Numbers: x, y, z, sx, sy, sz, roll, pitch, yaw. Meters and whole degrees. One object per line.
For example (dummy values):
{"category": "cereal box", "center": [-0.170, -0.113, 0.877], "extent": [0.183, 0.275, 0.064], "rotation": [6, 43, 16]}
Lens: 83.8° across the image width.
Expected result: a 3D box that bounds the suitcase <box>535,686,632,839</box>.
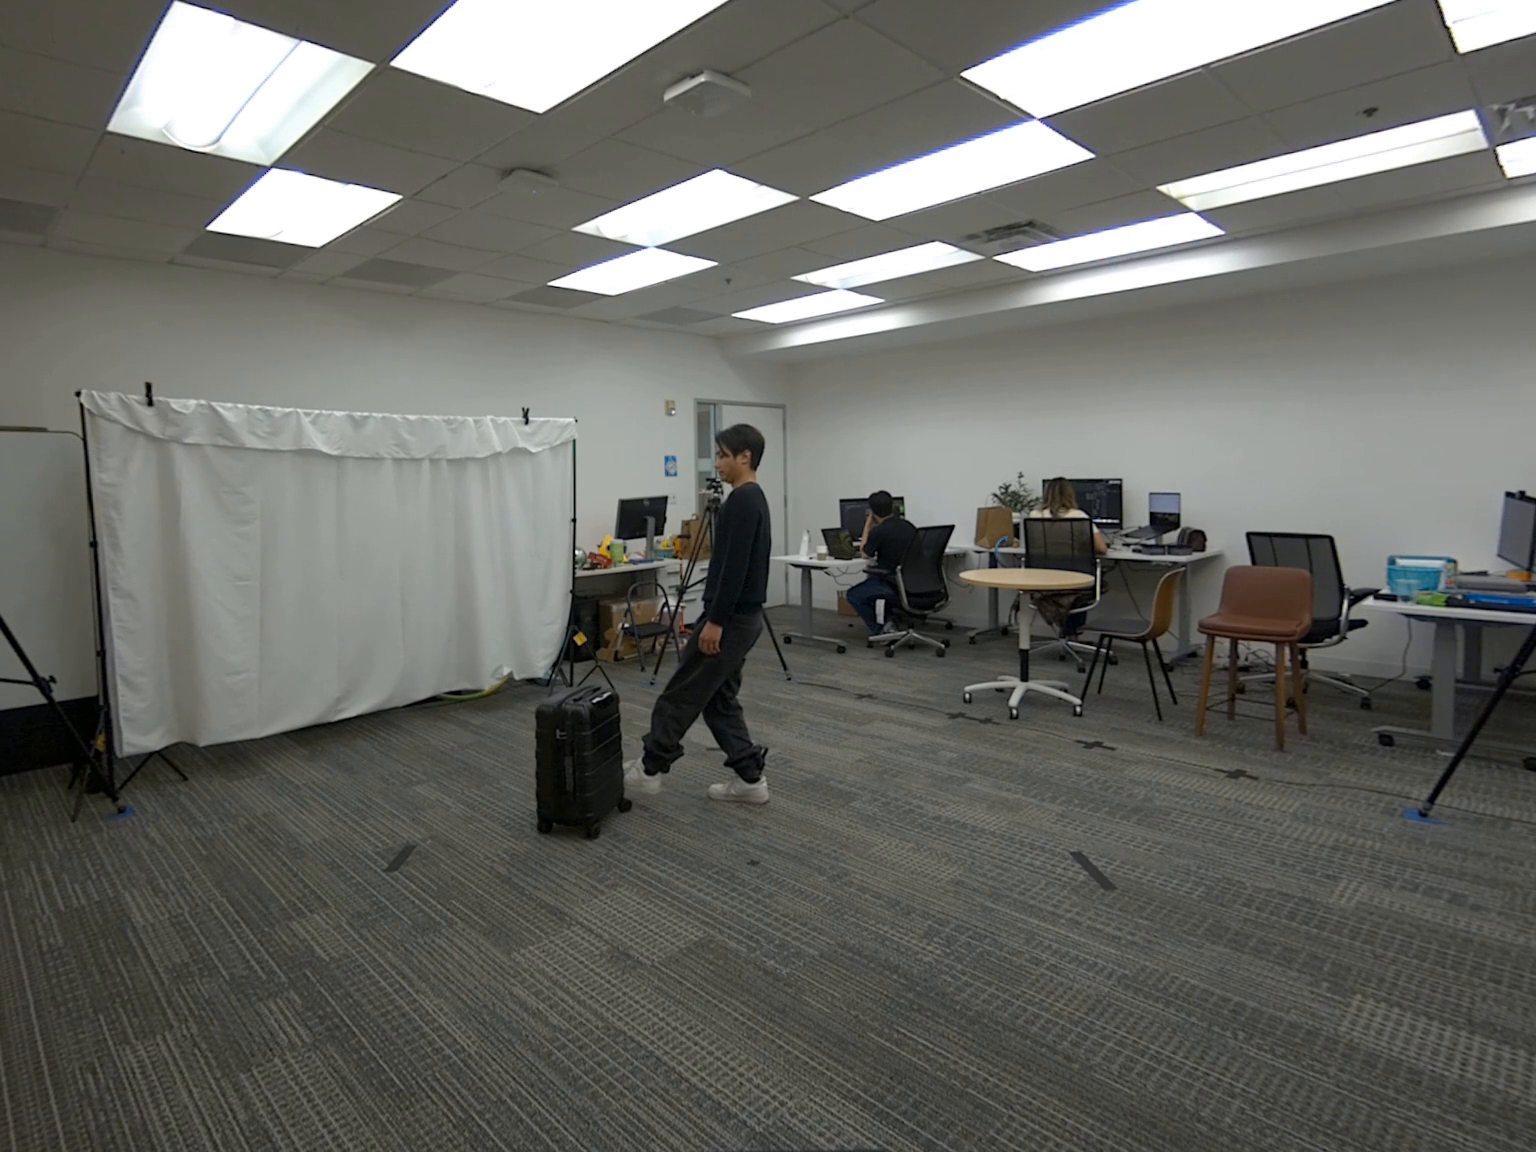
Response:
{"category": "suitcase", "center": [-0.764, 0.736, 3.484], "extent": [0.252, 0.547, 0.371], "rotation": [0, 5, 15]}
